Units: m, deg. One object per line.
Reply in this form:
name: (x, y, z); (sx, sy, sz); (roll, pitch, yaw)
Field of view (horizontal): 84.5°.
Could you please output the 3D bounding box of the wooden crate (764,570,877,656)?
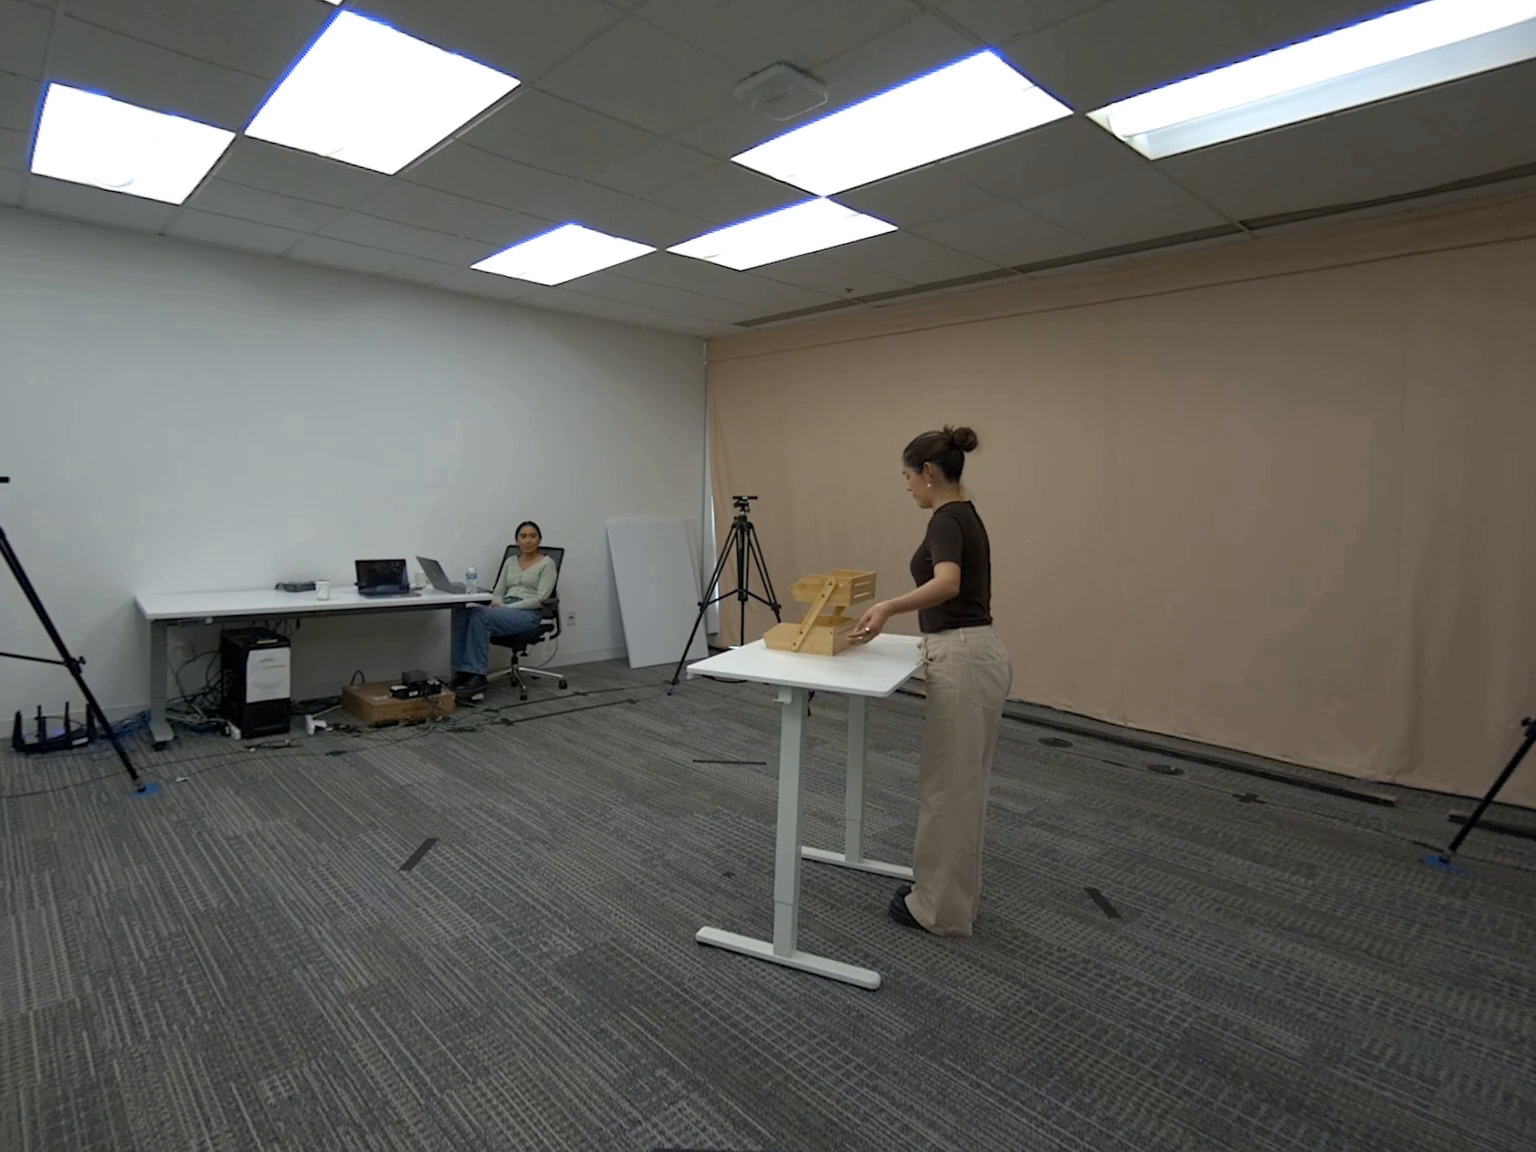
wooden crate: (0.176, 0.116, 2.906); (0.308, 0.272, 0.319); (4, 5, 23)
